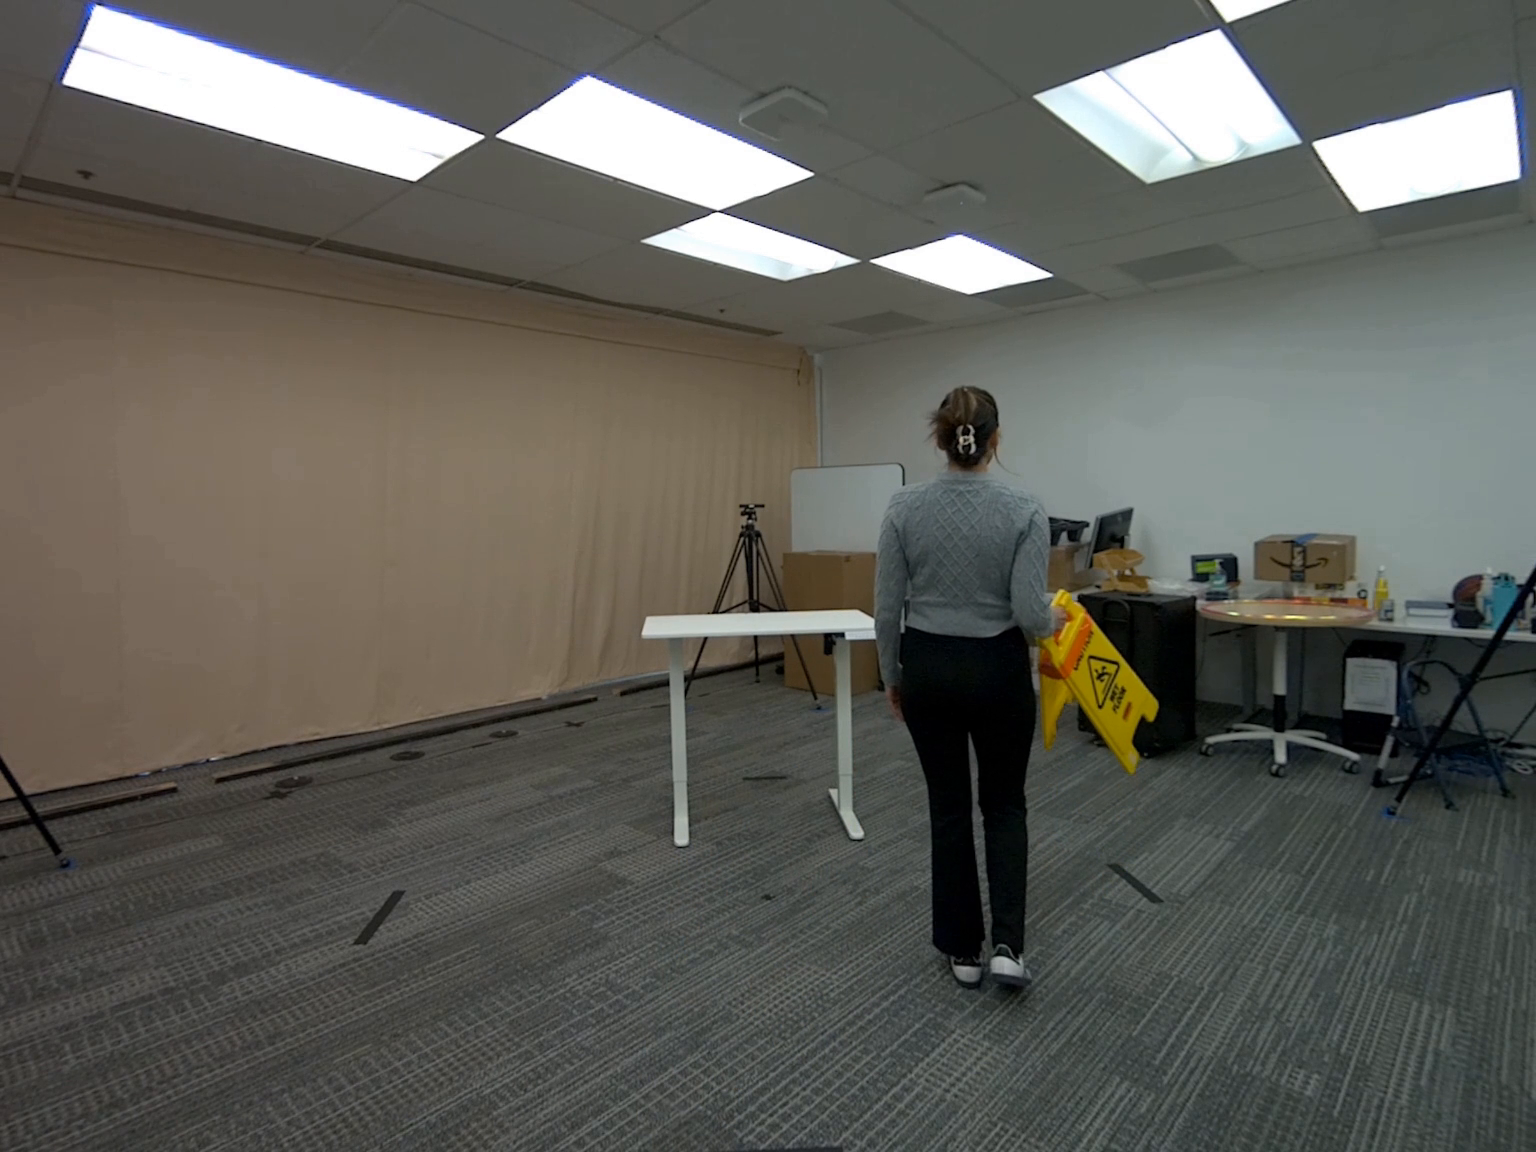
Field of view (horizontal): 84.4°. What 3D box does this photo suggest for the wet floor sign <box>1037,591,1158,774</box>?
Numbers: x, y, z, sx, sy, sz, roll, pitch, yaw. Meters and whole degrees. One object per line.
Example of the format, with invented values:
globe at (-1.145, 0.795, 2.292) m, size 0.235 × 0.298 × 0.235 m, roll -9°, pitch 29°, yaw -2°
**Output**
wet floor sign at (1.004, 0.323, 2.707) m, size 0.300 × 0.281 × 0.626 m, roll 9°, pitch -35°, yaw 45°
